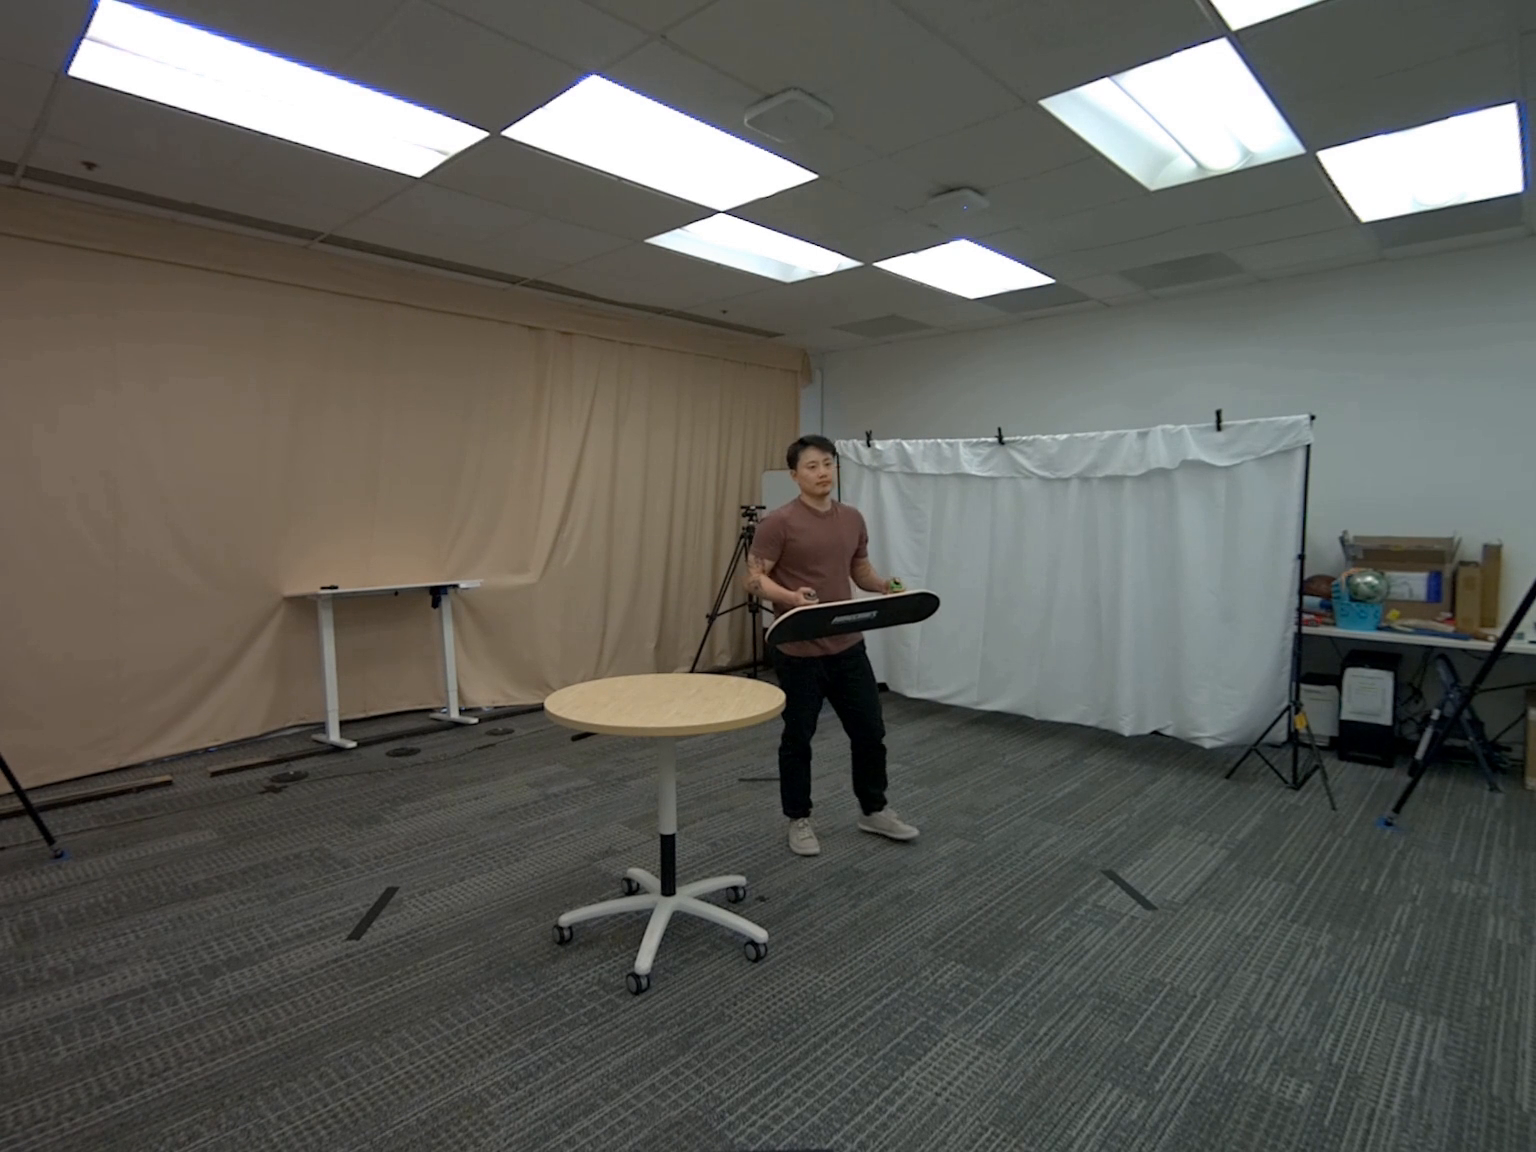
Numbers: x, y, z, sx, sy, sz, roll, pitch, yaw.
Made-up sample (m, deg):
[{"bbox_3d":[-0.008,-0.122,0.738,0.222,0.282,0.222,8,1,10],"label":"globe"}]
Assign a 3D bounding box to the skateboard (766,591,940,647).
[{"bbox_3d":[0.323,0.137,3.254,0.768,0.192,0.114,-7,46,-25],"label":"skateboard"}]
